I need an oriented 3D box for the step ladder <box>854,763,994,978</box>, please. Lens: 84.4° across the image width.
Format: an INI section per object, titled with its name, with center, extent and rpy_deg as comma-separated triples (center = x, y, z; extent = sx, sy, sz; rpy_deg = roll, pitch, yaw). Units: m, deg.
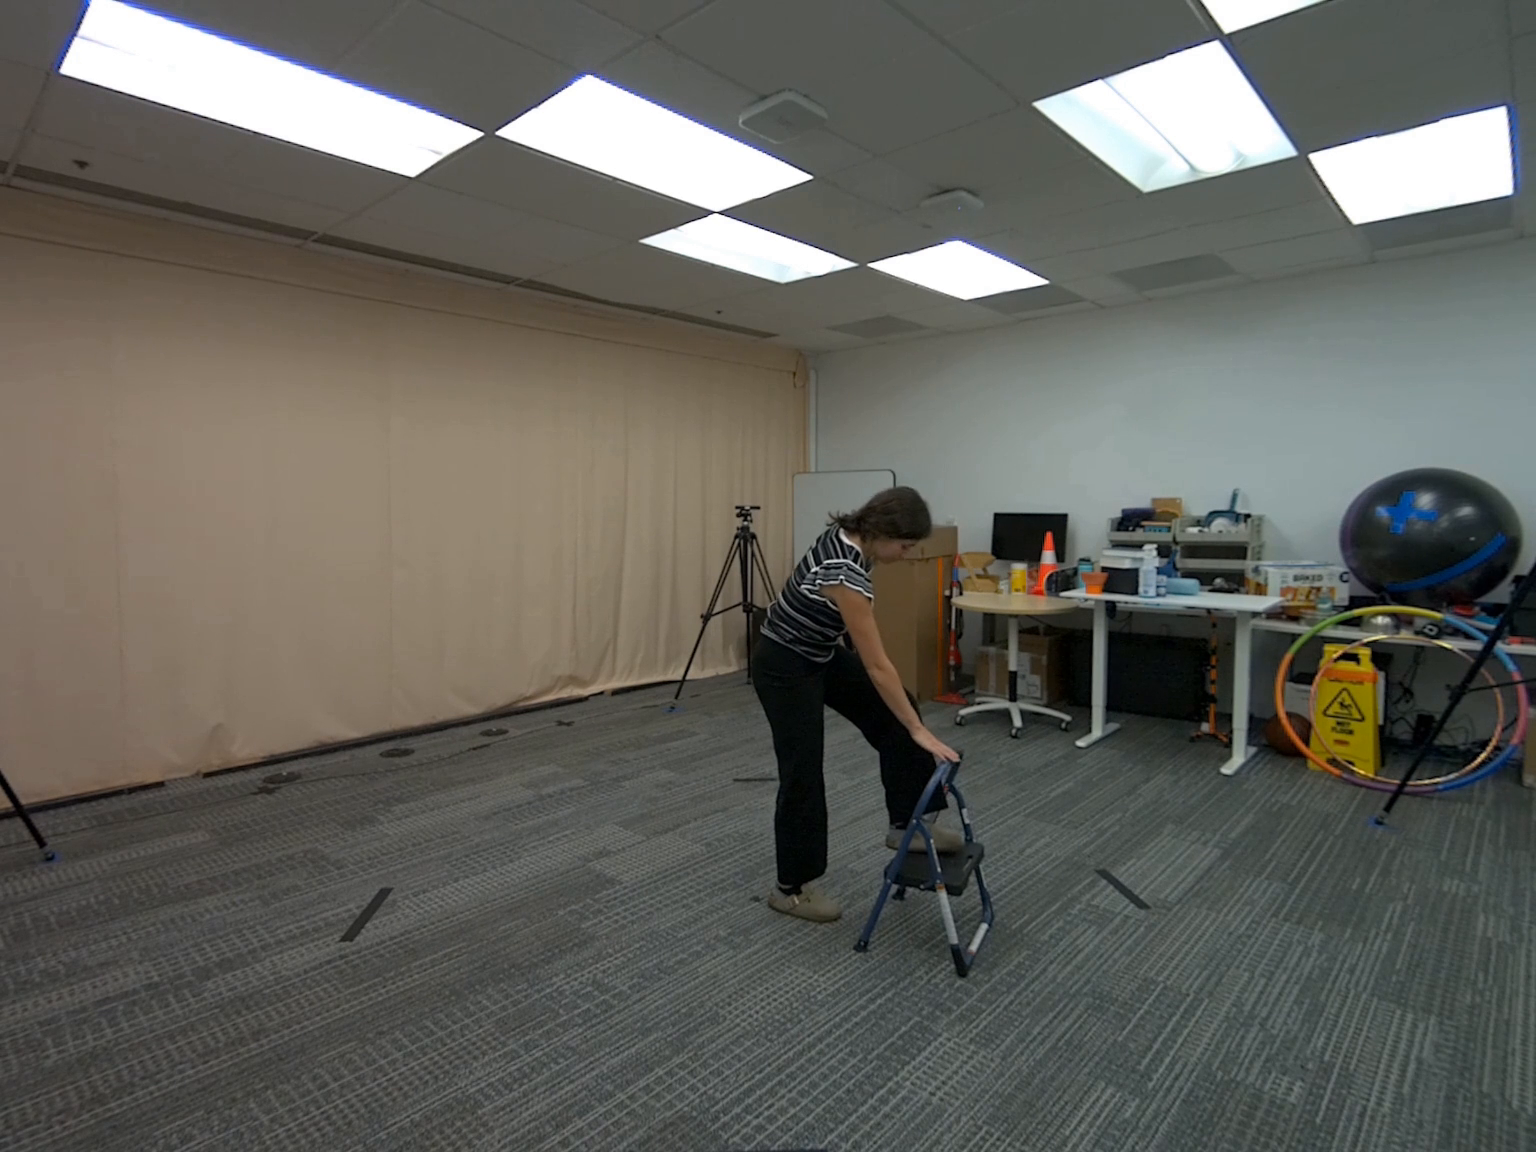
[step ladder]
center = 0.518, 0.864, 2.719
extent = 0.359, 0.605, 0.420
rpy_deg = 1, 4, 27
